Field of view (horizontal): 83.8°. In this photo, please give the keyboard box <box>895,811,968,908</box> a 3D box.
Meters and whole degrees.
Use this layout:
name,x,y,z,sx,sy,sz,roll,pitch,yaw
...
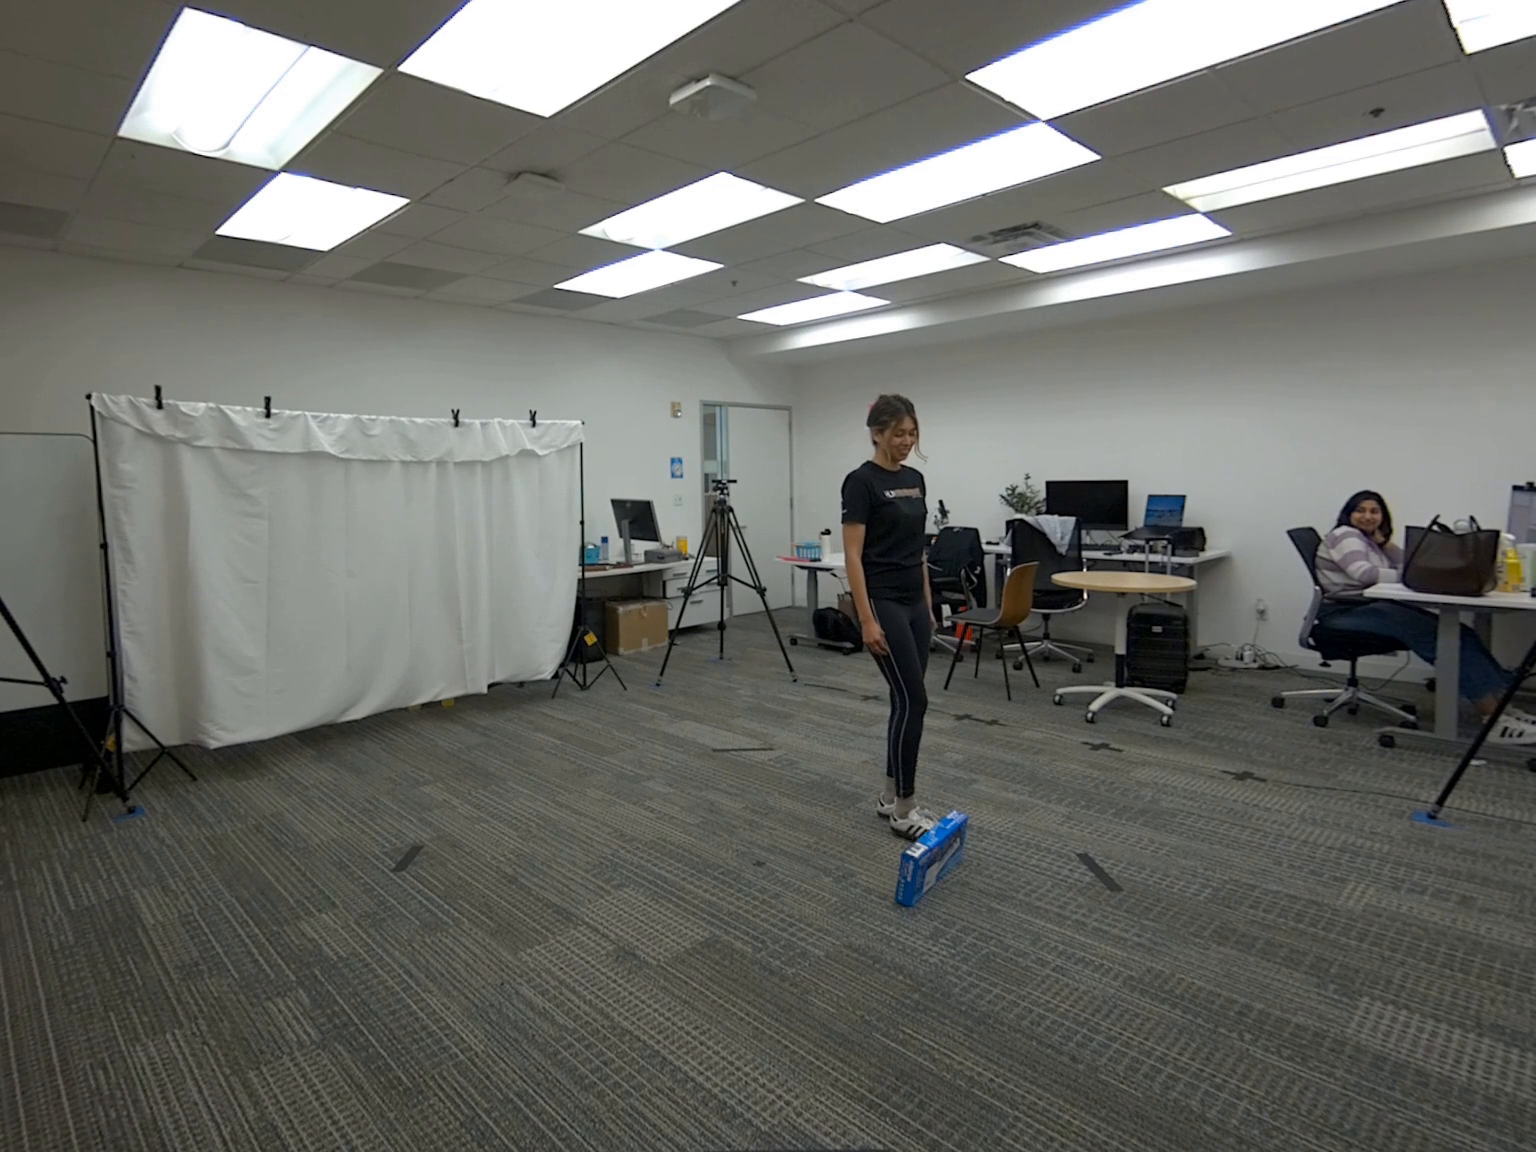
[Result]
name,x,y,z,sx,sy,sz,roll,pitch,yaw
keyboard box,0.575,0.971,2.941,0.061,0.174,0.426,12,12,33
